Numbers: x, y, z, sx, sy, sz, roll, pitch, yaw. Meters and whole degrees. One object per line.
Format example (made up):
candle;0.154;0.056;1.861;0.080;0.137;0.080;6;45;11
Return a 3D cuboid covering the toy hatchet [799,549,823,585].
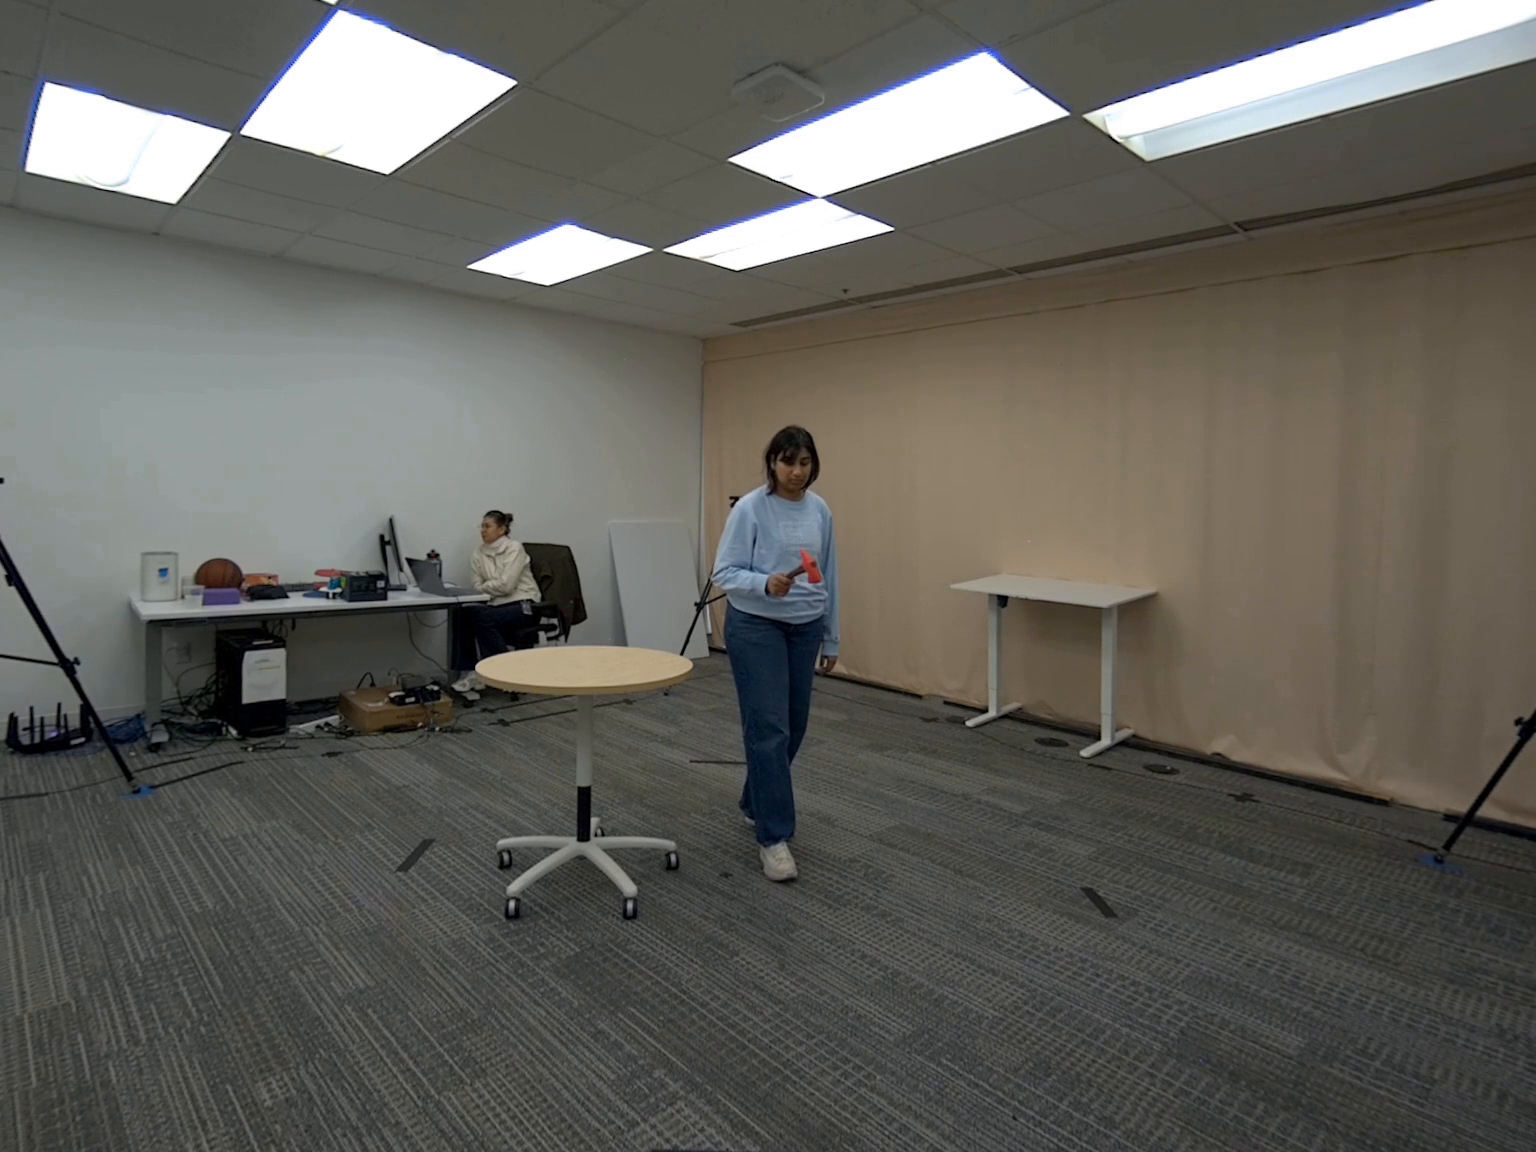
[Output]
toy hatchet;0.099;0.018;3.015;0.029;0.133;0.268;-29;-19;-34
